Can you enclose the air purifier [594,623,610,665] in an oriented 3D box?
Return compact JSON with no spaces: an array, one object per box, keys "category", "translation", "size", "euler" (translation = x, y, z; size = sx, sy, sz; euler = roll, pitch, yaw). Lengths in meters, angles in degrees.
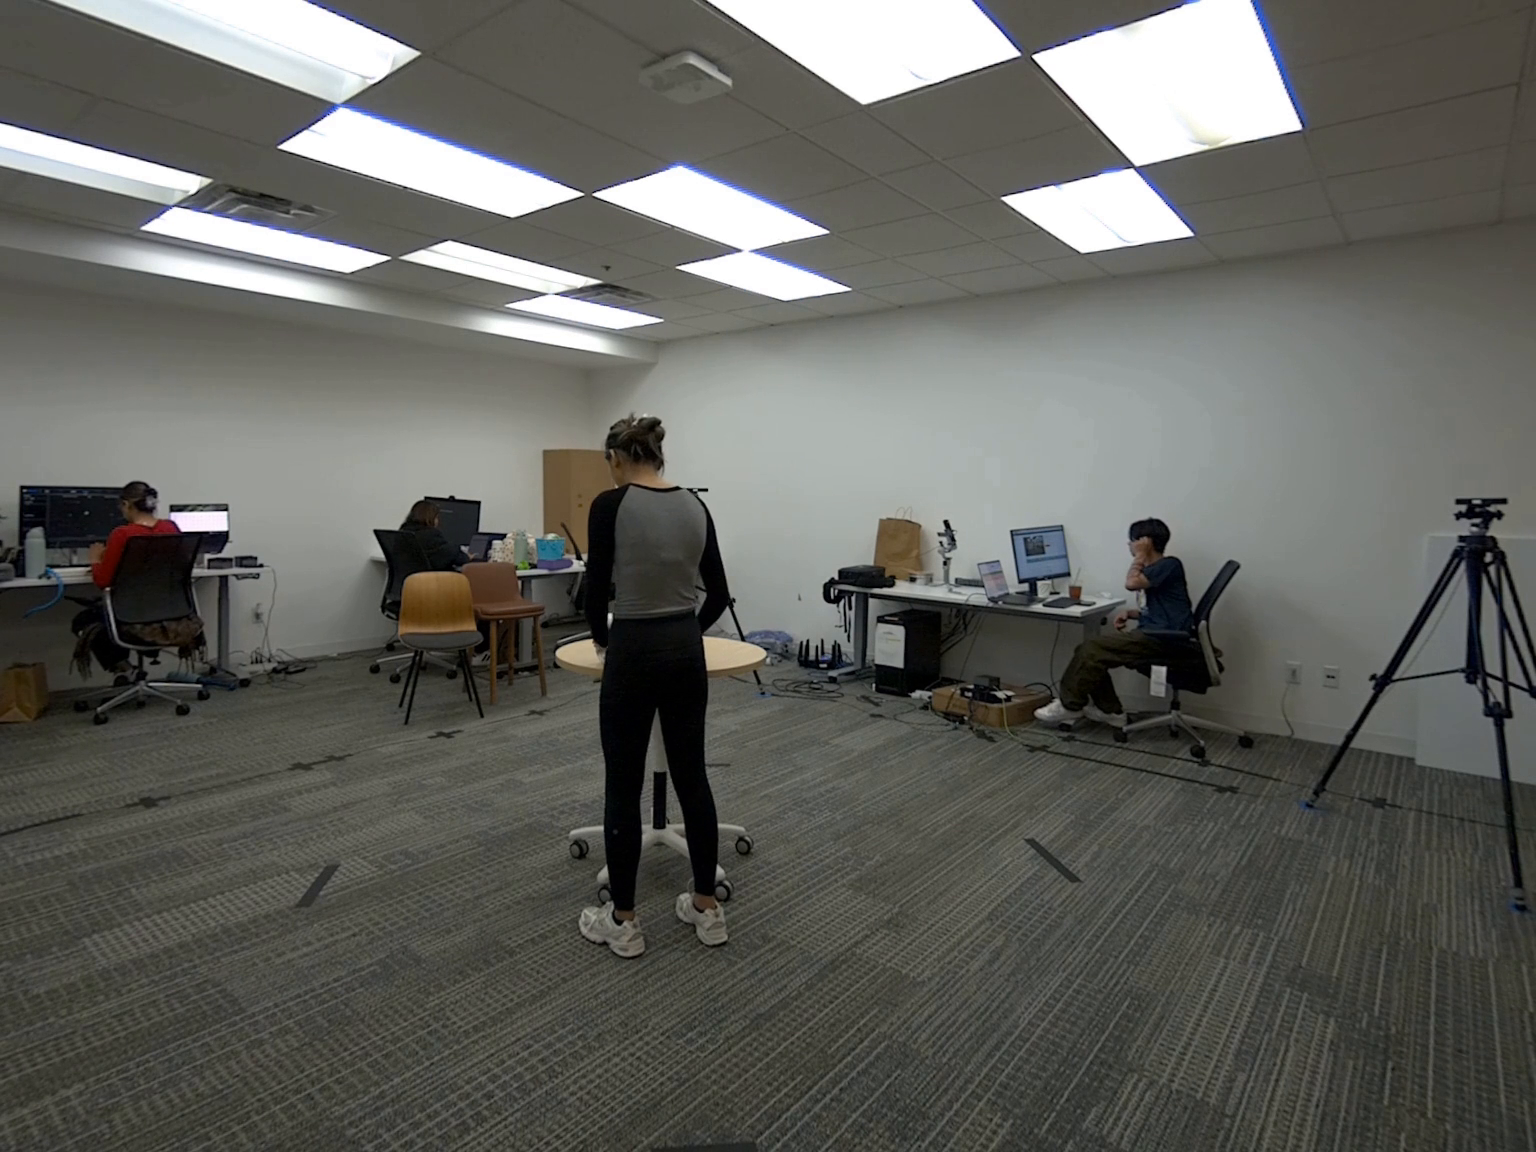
[{"category":"air purifier","translation":[-0.446,0.206,2.877],"size":[0.259,0.171,0.176],"euler":[-2,5,-26]}]
